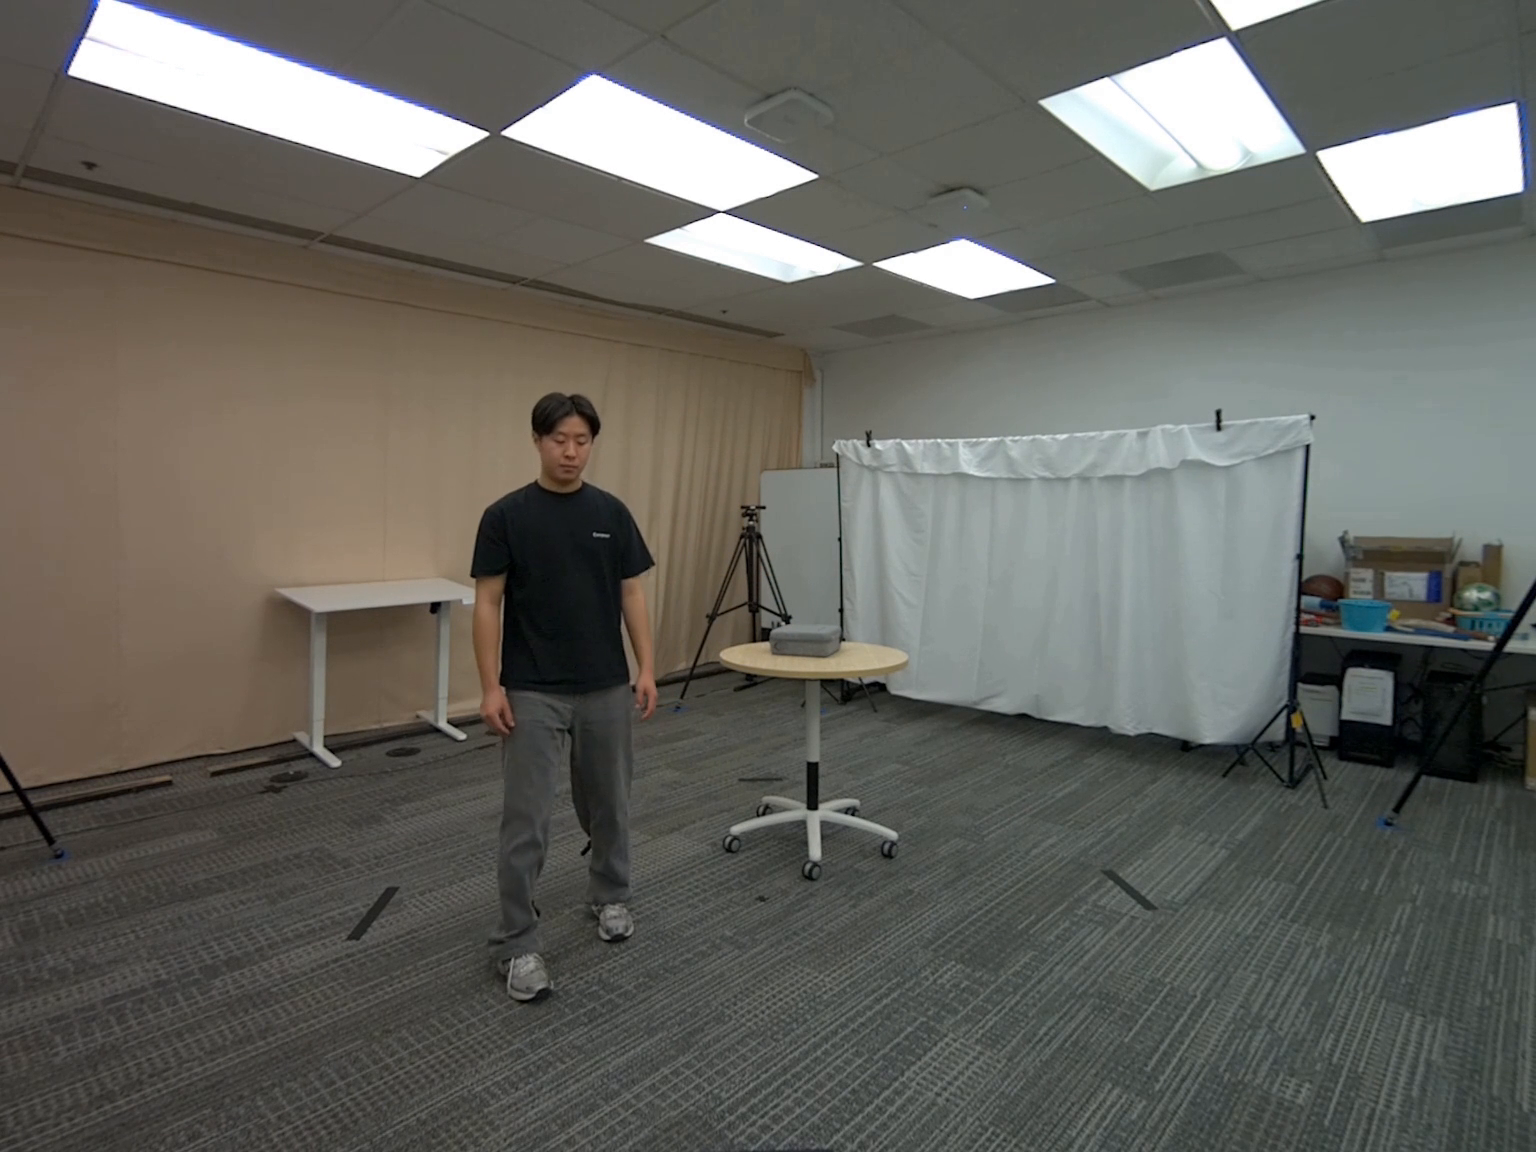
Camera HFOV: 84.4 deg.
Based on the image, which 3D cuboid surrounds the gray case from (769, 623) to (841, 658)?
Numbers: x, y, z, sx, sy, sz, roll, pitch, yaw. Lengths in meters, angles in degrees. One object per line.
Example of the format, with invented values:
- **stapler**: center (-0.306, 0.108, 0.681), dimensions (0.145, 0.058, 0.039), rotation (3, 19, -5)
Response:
- **gray case**: center (0.151, 0.268, 3.506), dimensions (0.294, 0.103, 0.258), rotation (0, 4, 21)
